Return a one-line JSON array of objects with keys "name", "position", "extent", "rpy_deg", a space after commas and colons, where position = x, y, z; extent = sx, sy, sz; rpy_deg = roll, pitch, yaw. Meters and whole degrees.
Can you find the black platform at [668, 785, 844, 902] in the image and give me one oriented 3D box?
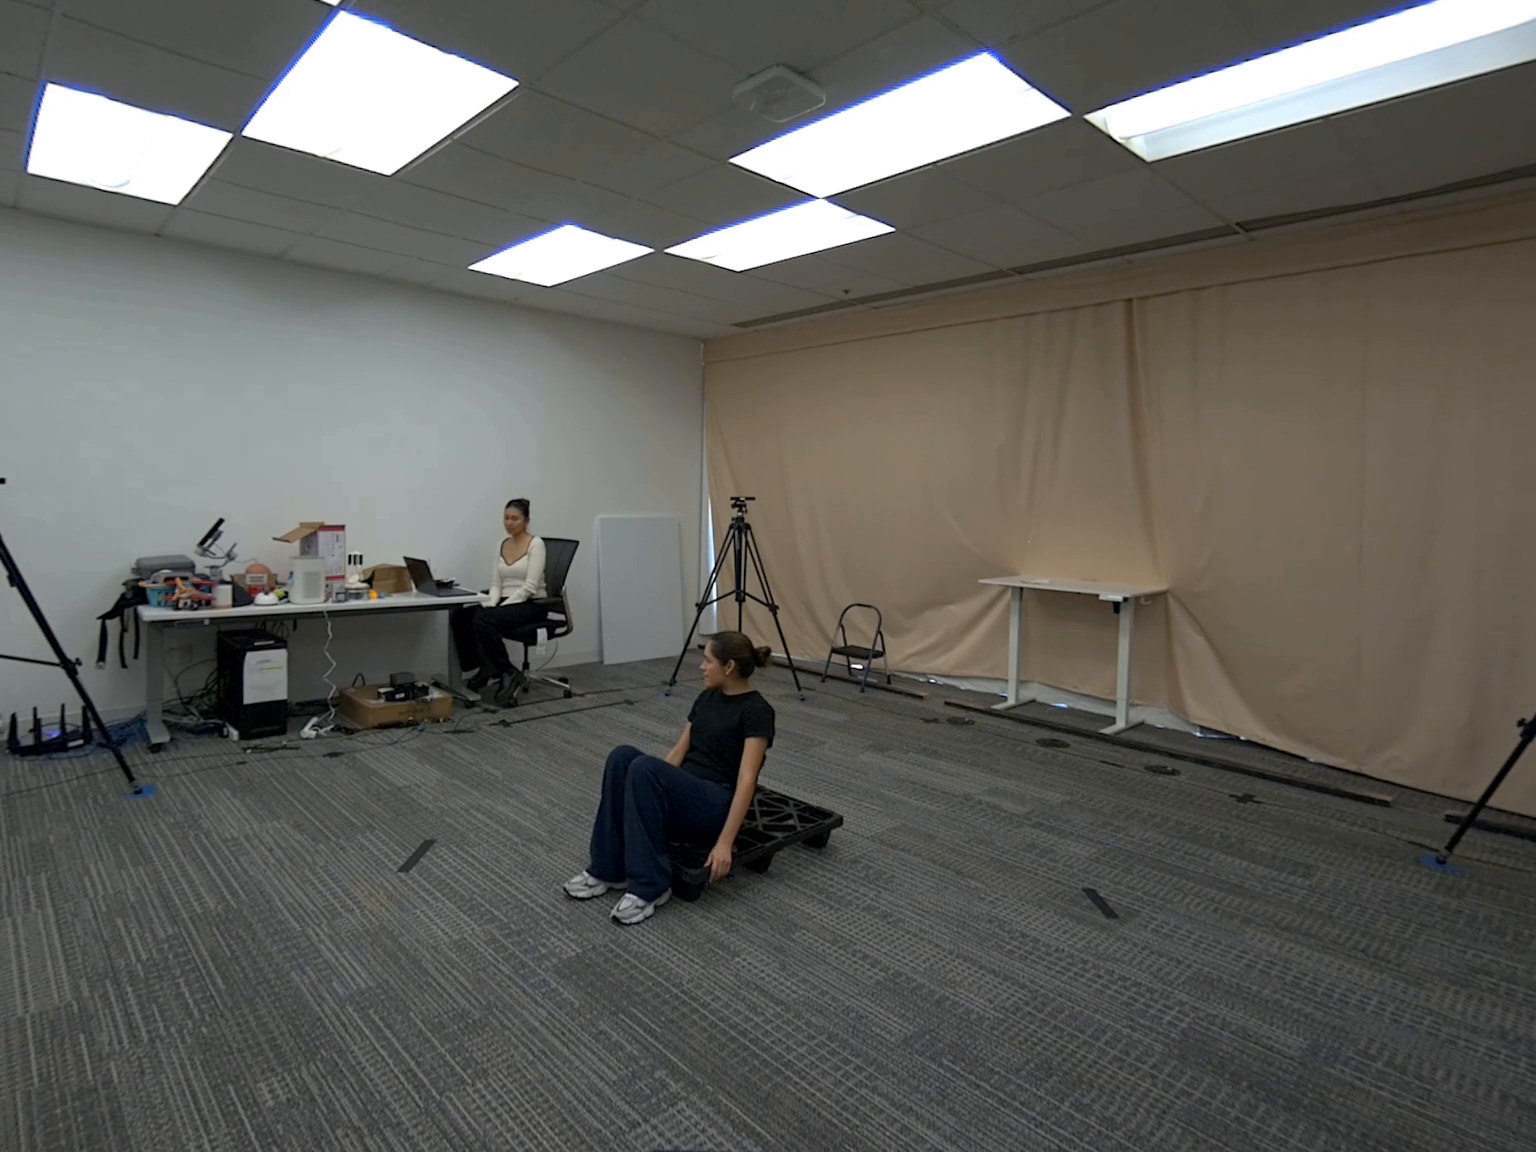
[{"name": "black platform", "position": [-0.188, 1.024, 3.296], "extent": [0.787, 0.143, 0.620], "rpy_deg": [-4, 7, -45]}]
